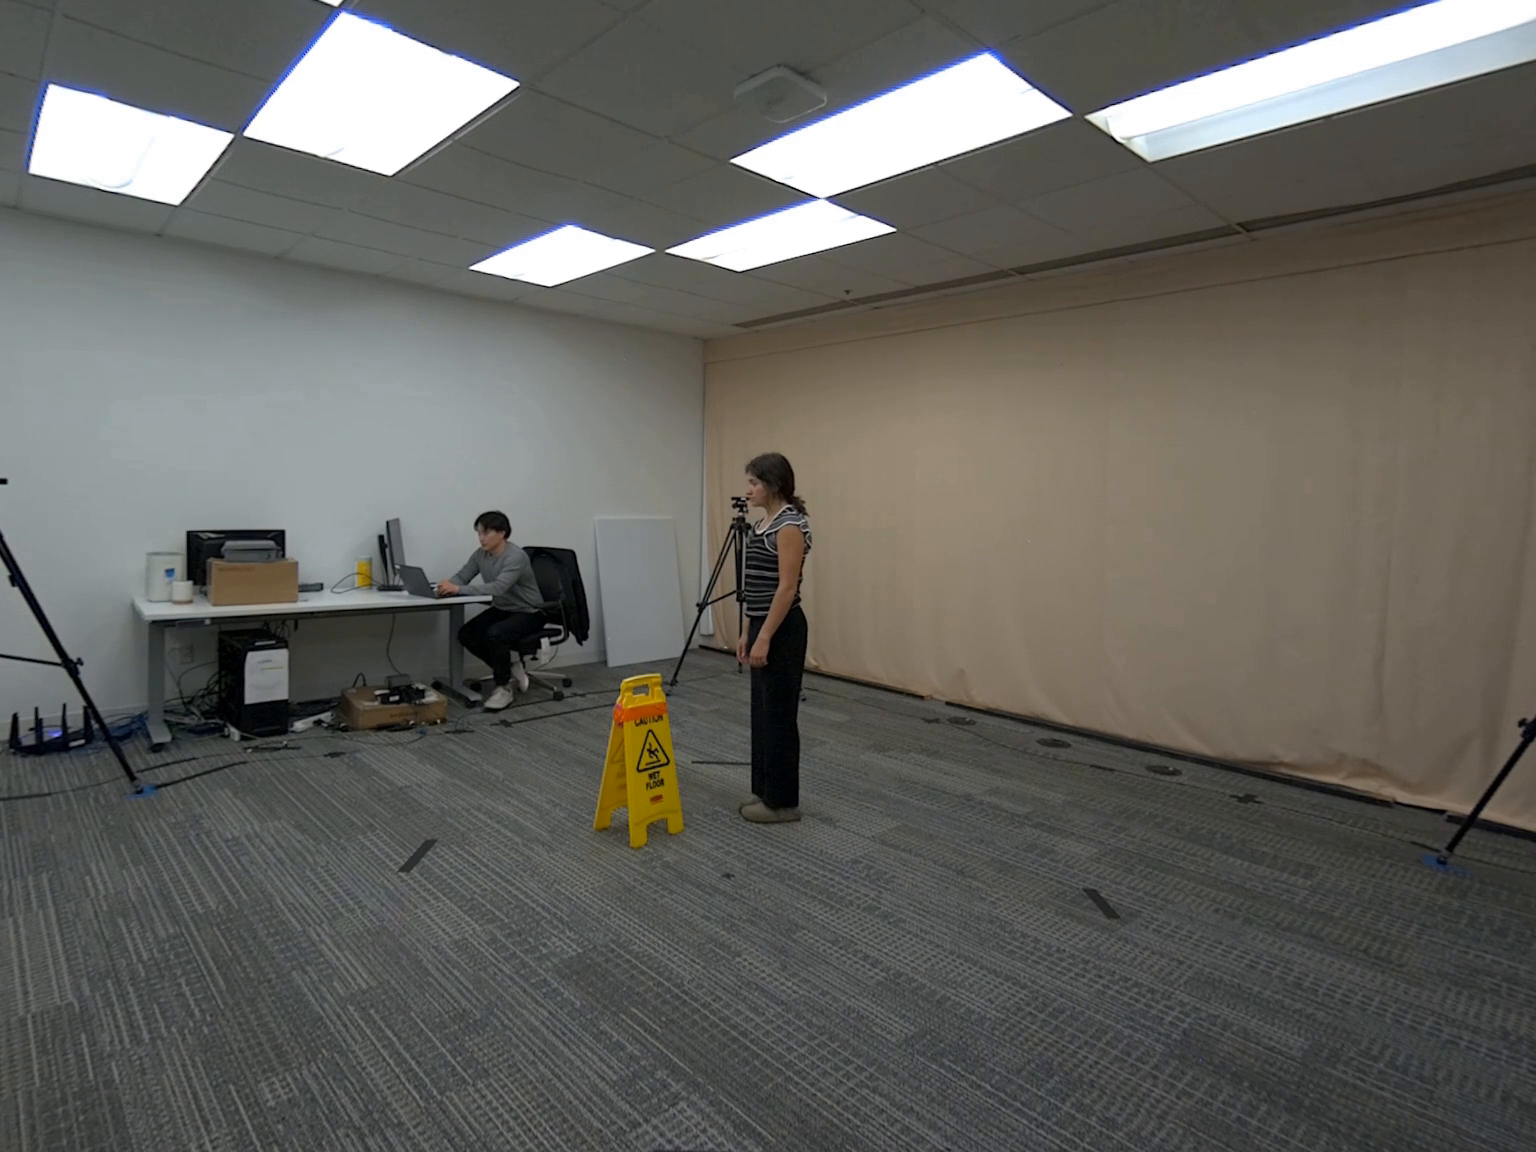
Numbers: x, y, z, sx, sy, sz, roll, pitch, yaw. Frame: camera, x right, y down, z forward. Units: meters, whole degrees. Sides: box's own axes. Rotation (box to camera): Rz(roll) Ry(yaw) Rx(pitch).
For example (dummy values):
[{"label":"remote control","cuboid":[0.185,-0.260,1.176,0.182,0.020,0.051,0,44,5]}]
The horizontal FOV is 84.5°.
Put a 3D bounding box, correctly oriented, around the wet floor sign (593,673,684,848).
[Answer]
[{"label":"wet floor sign","cuboid":[-0.543,0.739,3.496,0.297,0.645,0.276,3,3,42]}]
